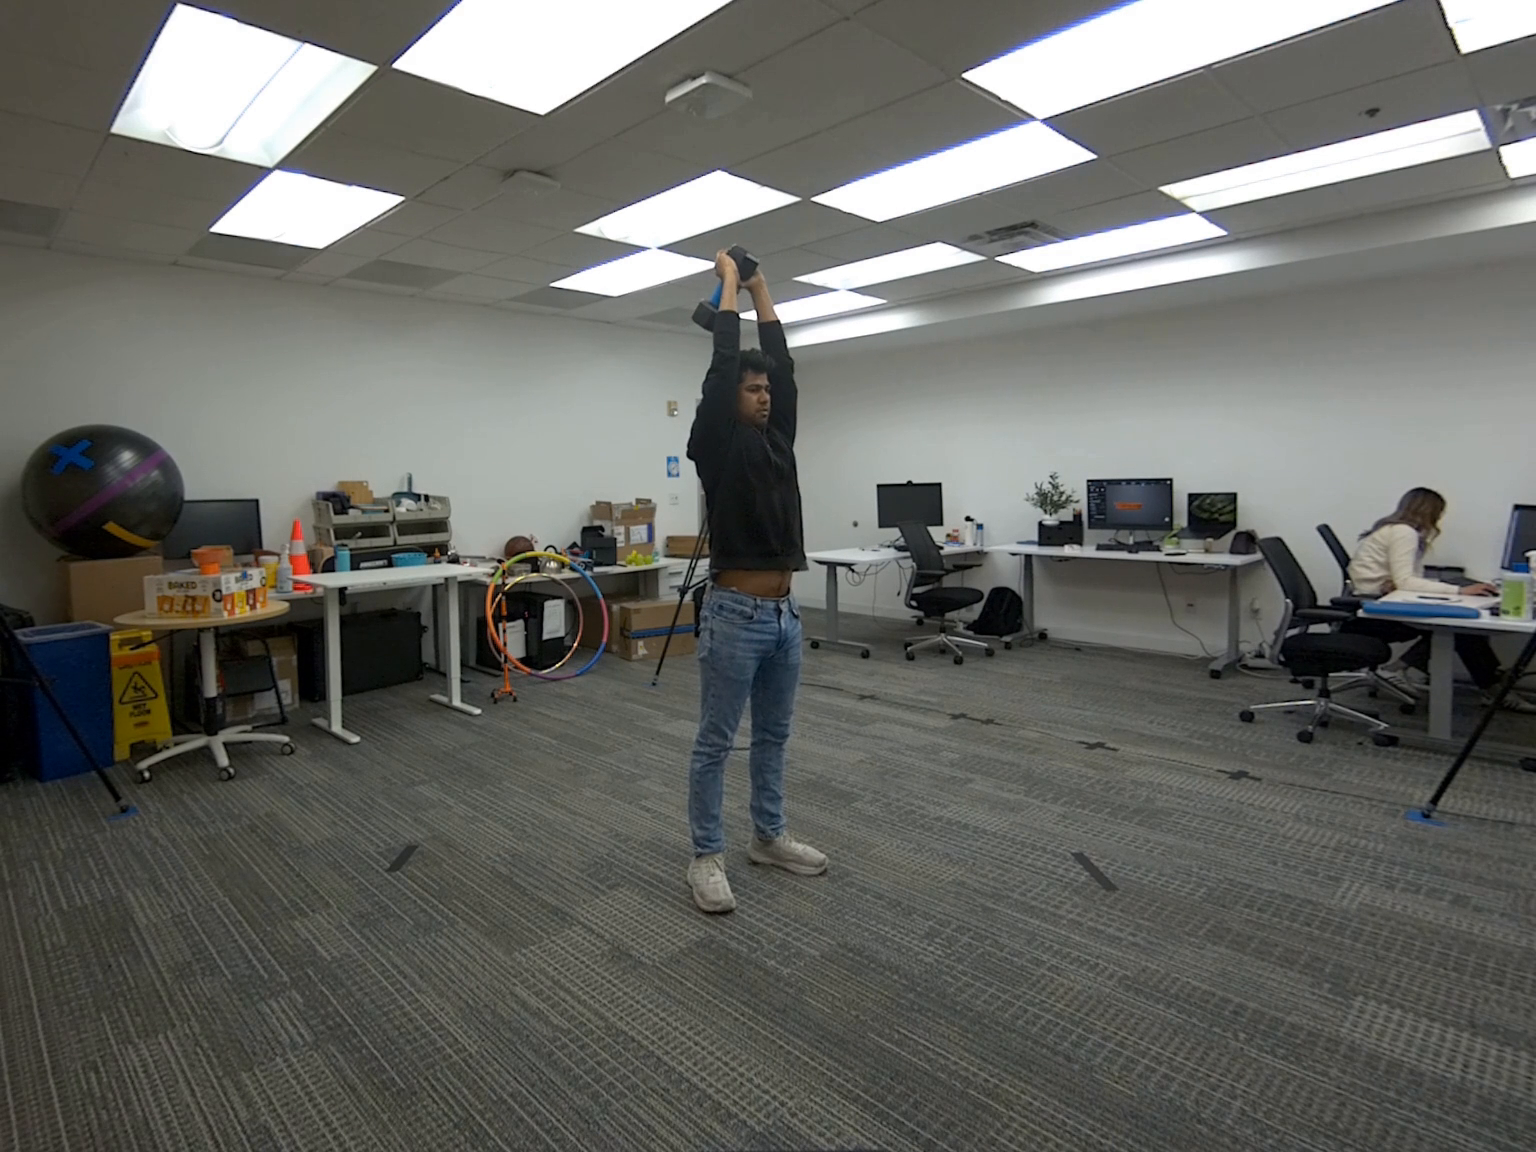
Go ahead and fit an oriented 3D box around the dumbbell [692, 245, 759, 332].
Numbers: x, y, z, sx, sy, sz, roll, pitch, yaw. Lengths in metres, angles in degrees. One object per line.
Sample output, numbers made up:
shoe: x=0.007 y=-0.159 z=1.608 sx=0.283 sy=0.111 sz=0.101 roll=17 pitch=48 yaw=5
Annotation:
dumbbell: x=-0.151 y=-0.976 z=2.936 sx=0.119 sy=0.292 sz=0.113 roll=21 pitch=23 yaw=-37
